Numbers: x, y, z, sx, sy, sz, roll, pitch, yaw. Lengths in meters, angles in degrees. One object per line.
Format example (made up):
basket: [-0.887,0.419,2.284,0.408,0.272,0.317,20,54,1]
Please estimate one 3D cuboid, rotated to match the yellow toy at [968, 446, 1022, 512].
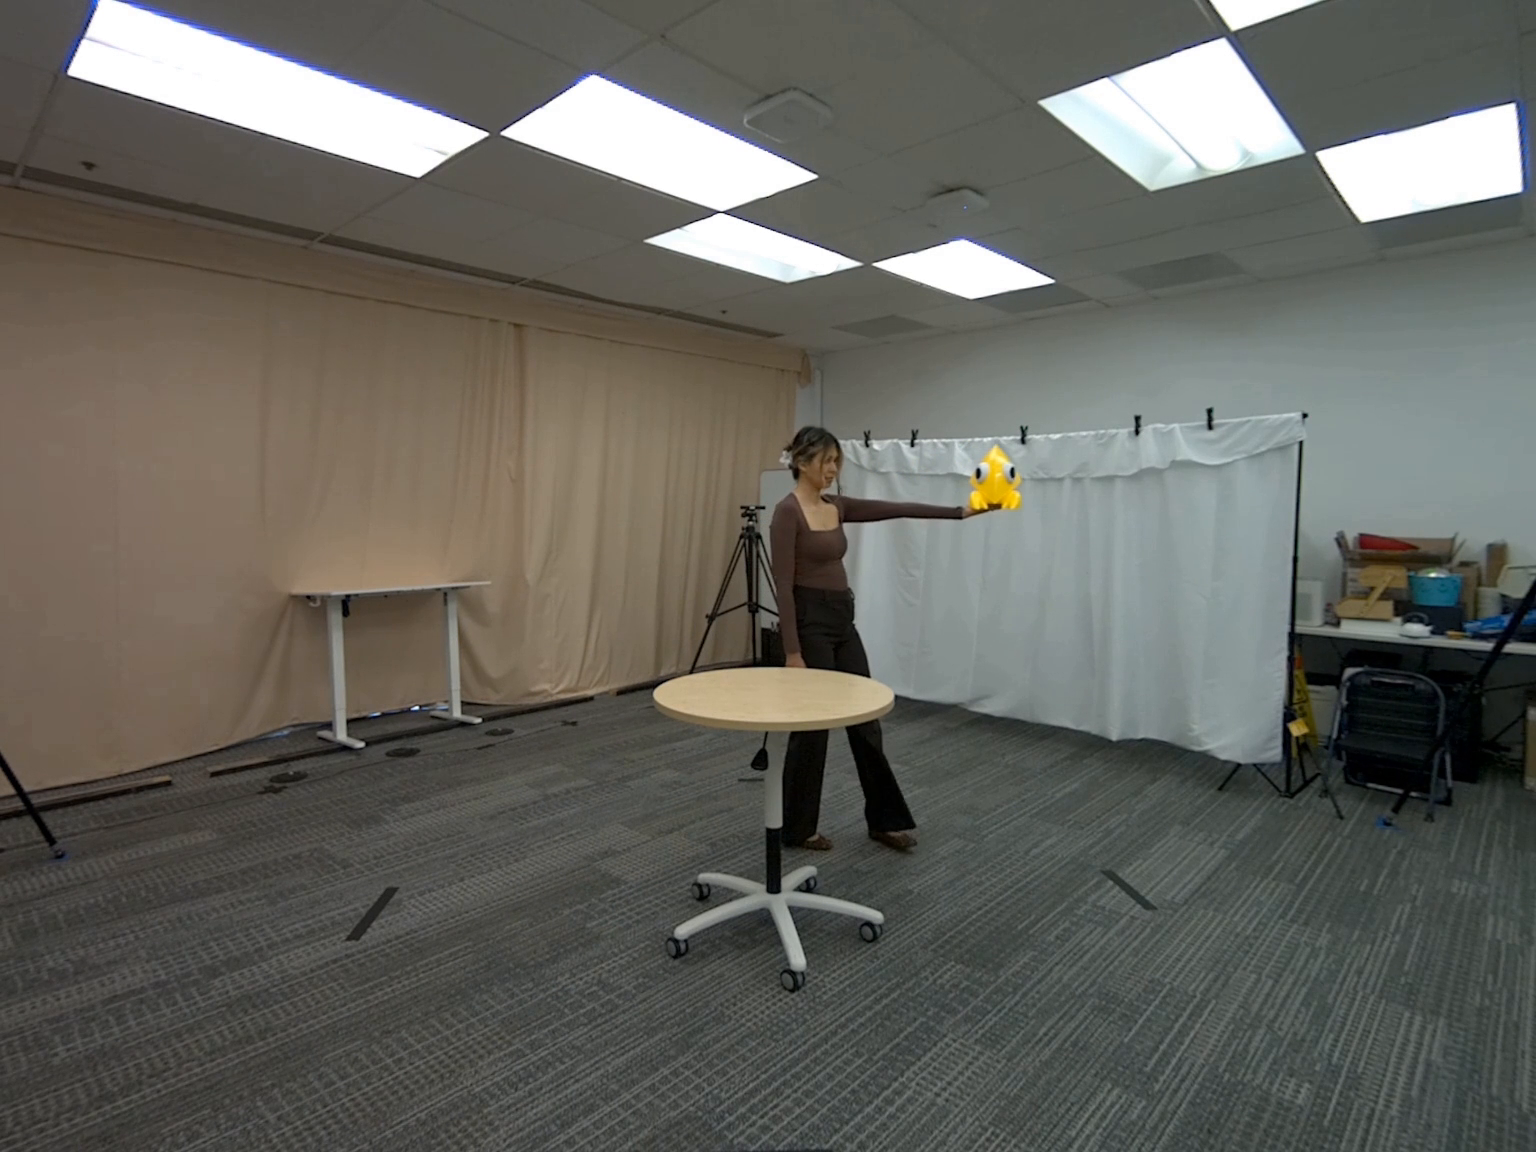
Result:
yellow toy: [0.907,-0.395,3.320,0.208,0.228,0.191,1,15,16]
